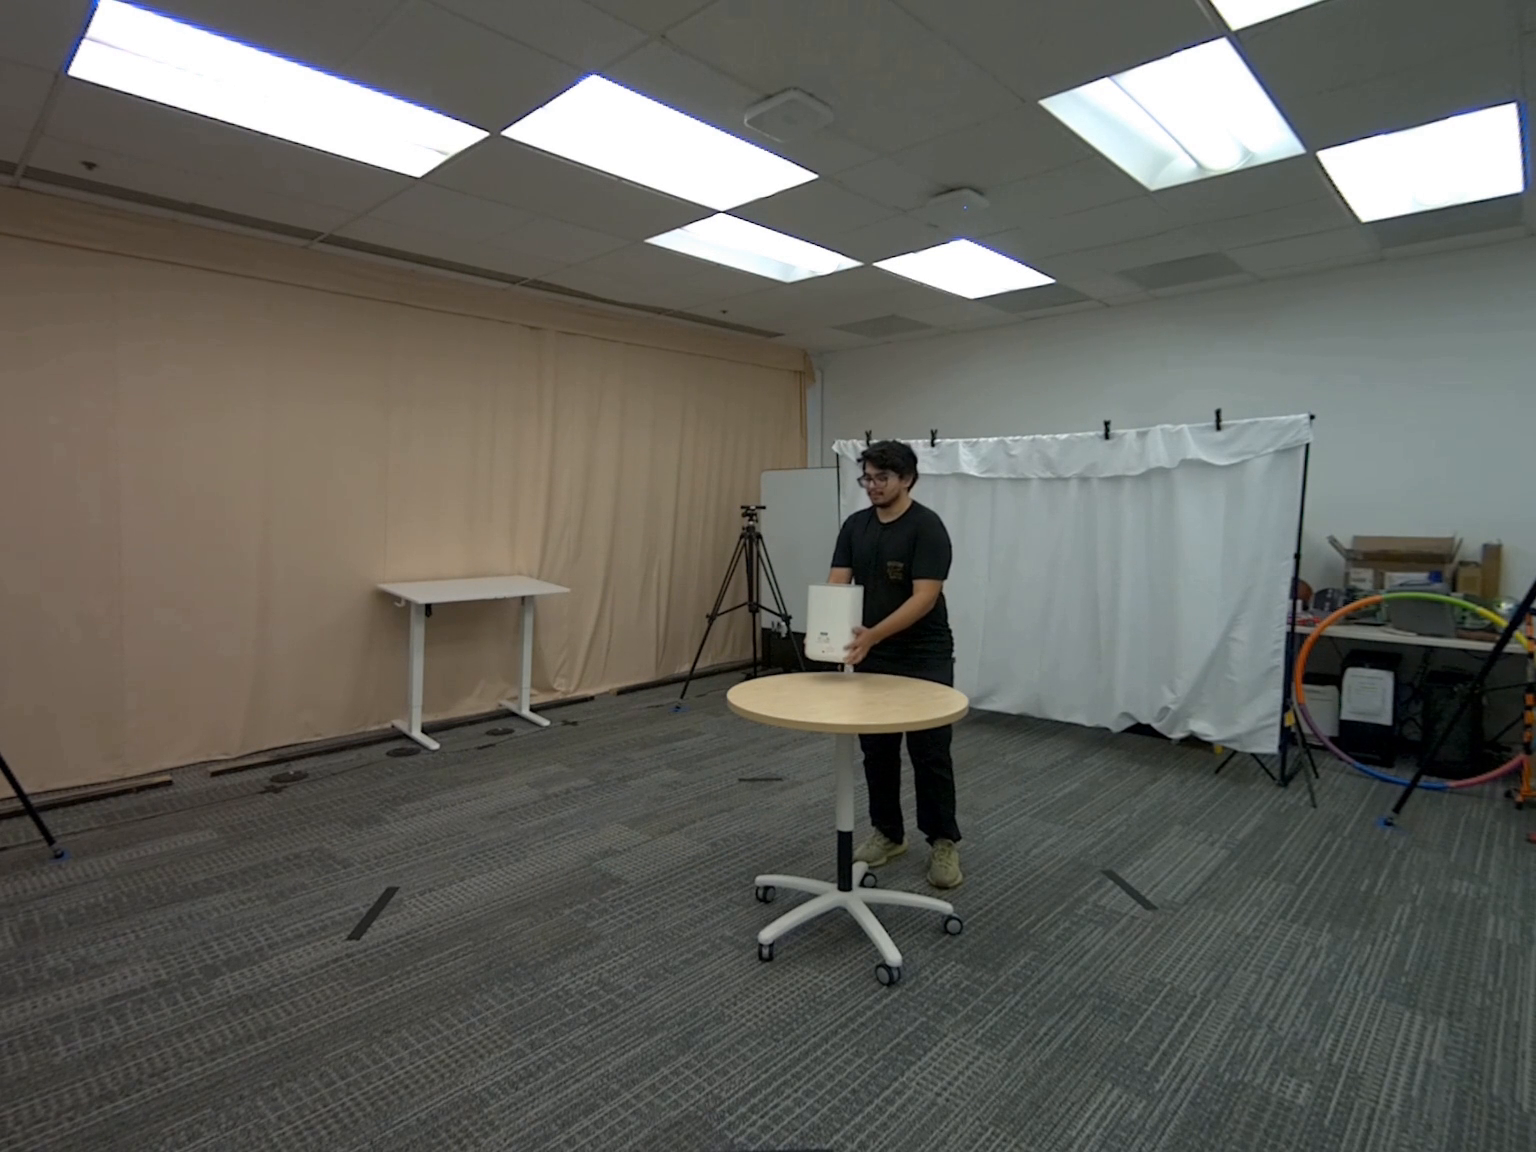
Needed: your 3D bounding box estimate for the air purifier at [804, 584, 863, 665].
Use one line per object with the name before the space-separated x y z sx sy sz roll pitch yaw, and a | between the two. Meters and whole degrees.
air purifier | 0.241 0.163 2.960 0.176 0.265 0.167 3 0 26
